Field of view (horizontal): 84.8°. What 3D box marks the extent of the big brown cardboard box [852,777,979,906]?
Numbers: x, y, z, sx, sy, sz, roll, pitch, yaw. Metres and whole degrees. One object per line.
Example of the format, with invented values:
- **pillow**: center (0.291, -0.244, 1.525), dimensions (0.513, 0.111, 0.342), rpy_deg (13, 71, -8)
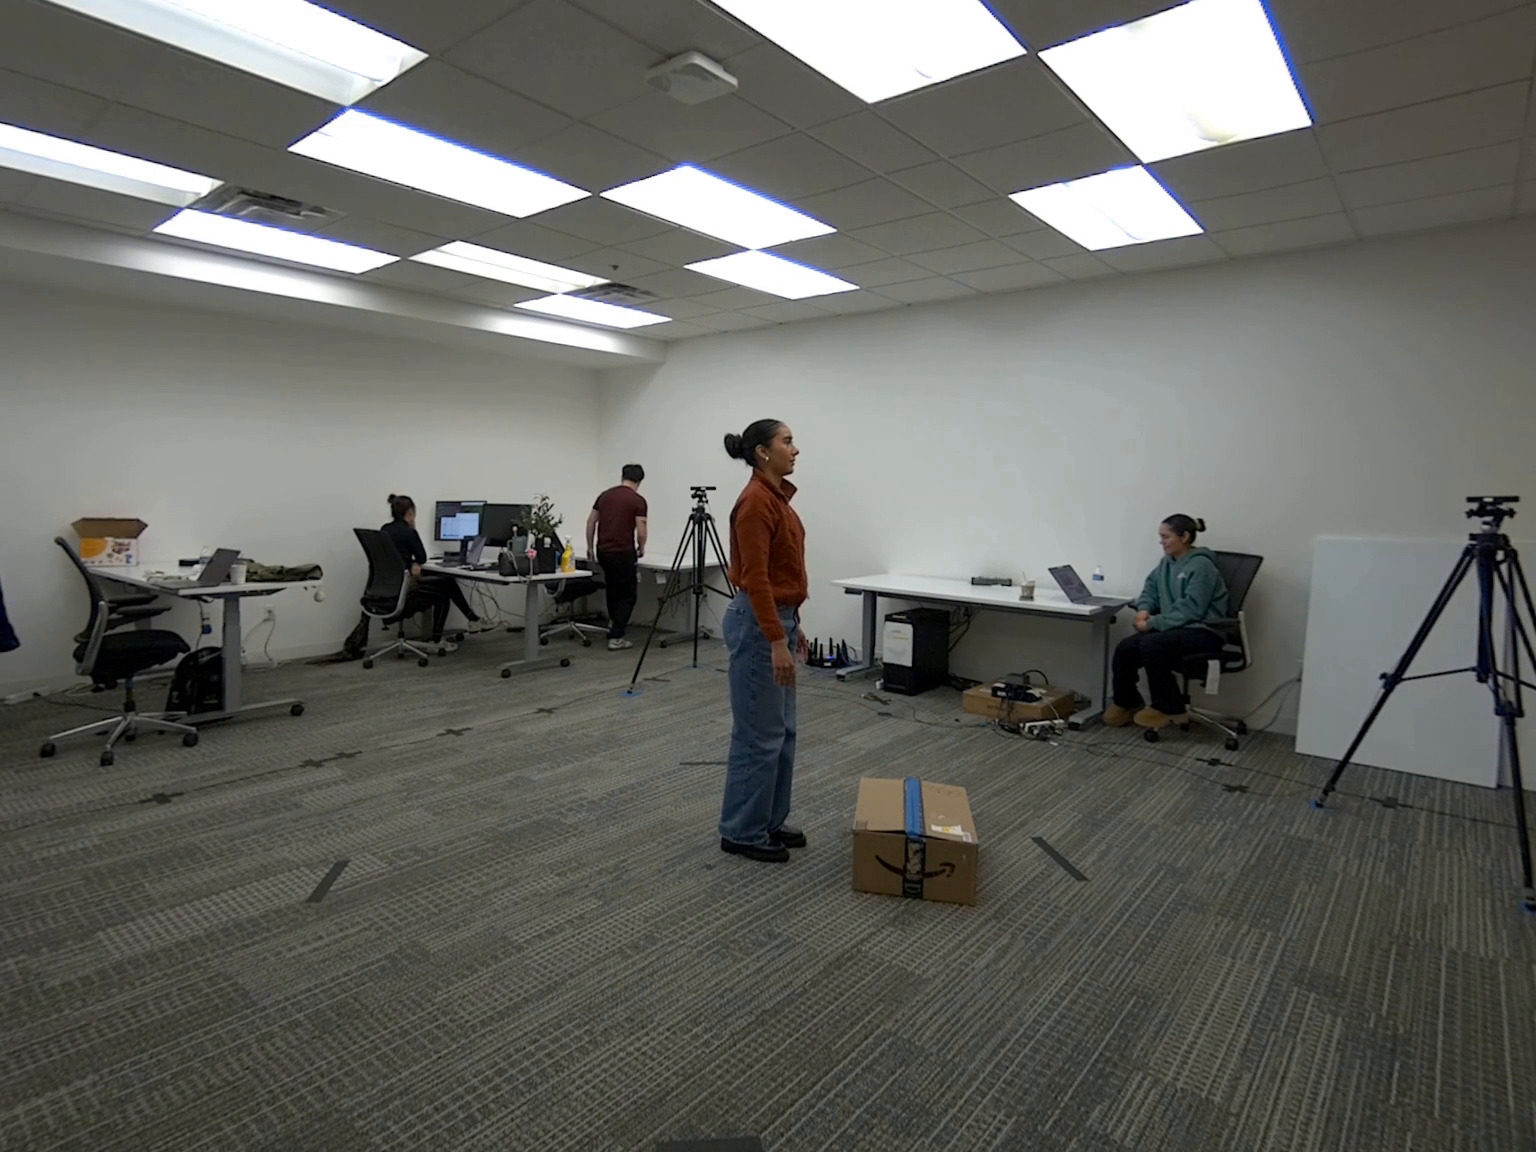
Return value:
- **big brown cardboard box**: center (0.528, 0.957, 3.170), dimensions (0.422, 0.232, 0.584), rpy_deg (2, 5, 9)
